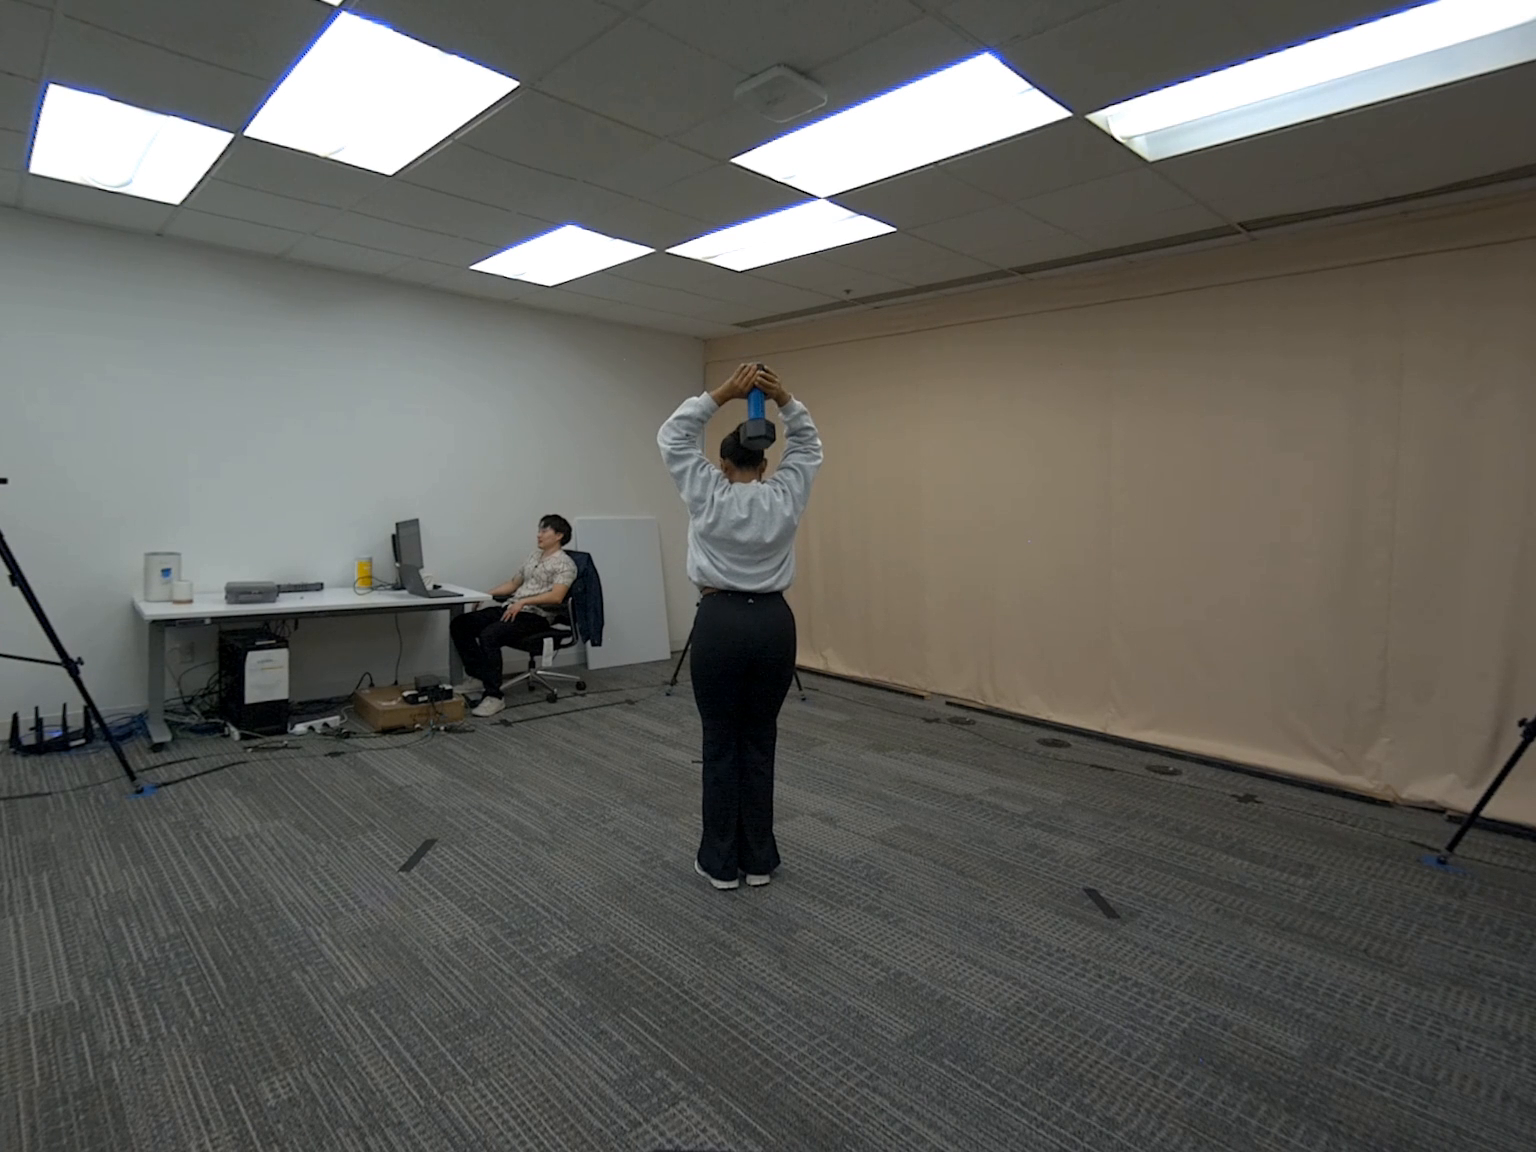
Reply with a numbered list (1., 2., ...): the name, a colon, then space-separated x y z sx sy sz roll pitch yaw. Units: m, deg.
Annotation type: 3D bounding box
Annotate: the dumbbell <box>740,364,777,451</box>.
1. dumbbell: -0.053 -0.589 2.907 0.110 0.298 0.119 -17 -23 31
